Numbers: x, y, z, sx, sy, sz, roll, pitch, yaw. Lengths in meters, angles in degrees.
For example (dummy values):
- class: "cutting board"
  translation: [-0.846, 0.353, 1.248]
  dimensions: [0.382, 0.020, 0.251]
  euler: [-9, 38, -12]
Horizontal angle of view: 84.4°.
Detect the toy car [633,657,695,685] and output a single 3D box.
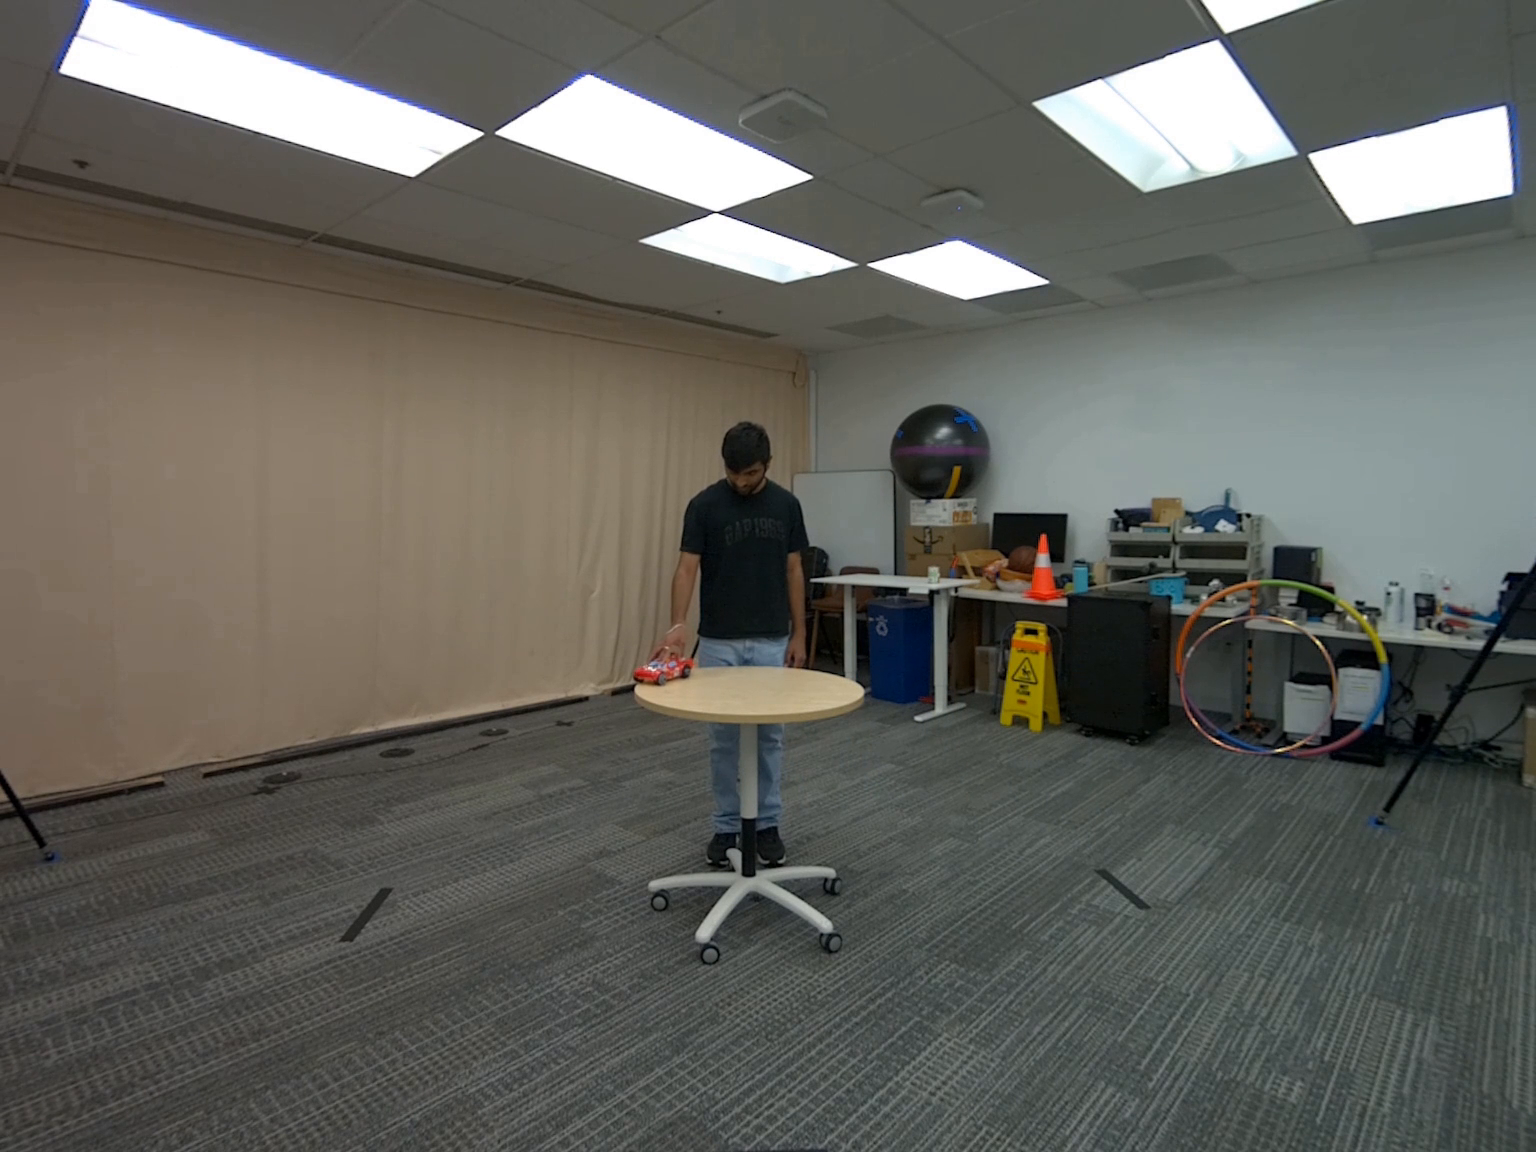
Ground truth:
- class: "toy car"
  translation: [-0.354, 0.338, 2.960]
  dimensions: [0.134, 0.082, 0.250]
  euler: [4, 18, 30]
